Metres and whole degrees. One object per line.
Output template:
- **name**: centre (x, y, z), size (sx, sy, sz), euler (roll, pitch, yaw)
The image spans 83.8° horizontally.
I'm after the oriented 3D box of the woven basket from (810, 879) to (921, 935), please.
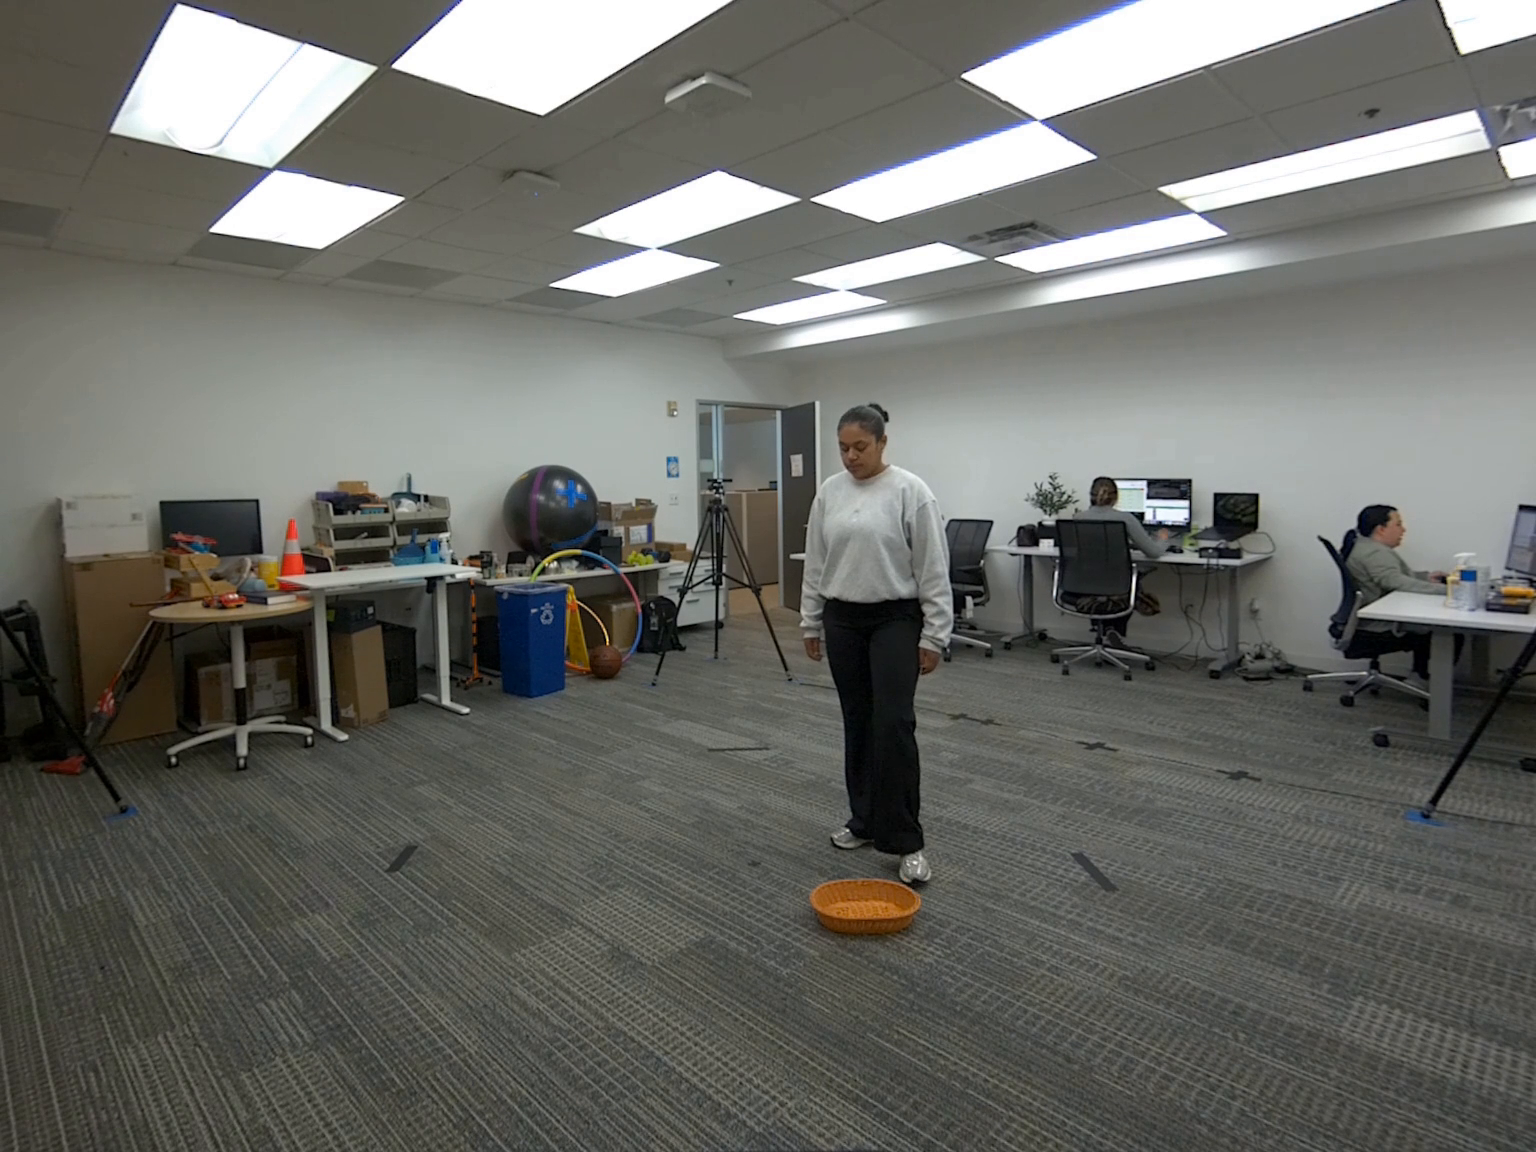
- **woven basket**: centre (0.301, 1.047, 2.698), size (0.351, 0.073, 0.253), euler (-1, 6, 2)
